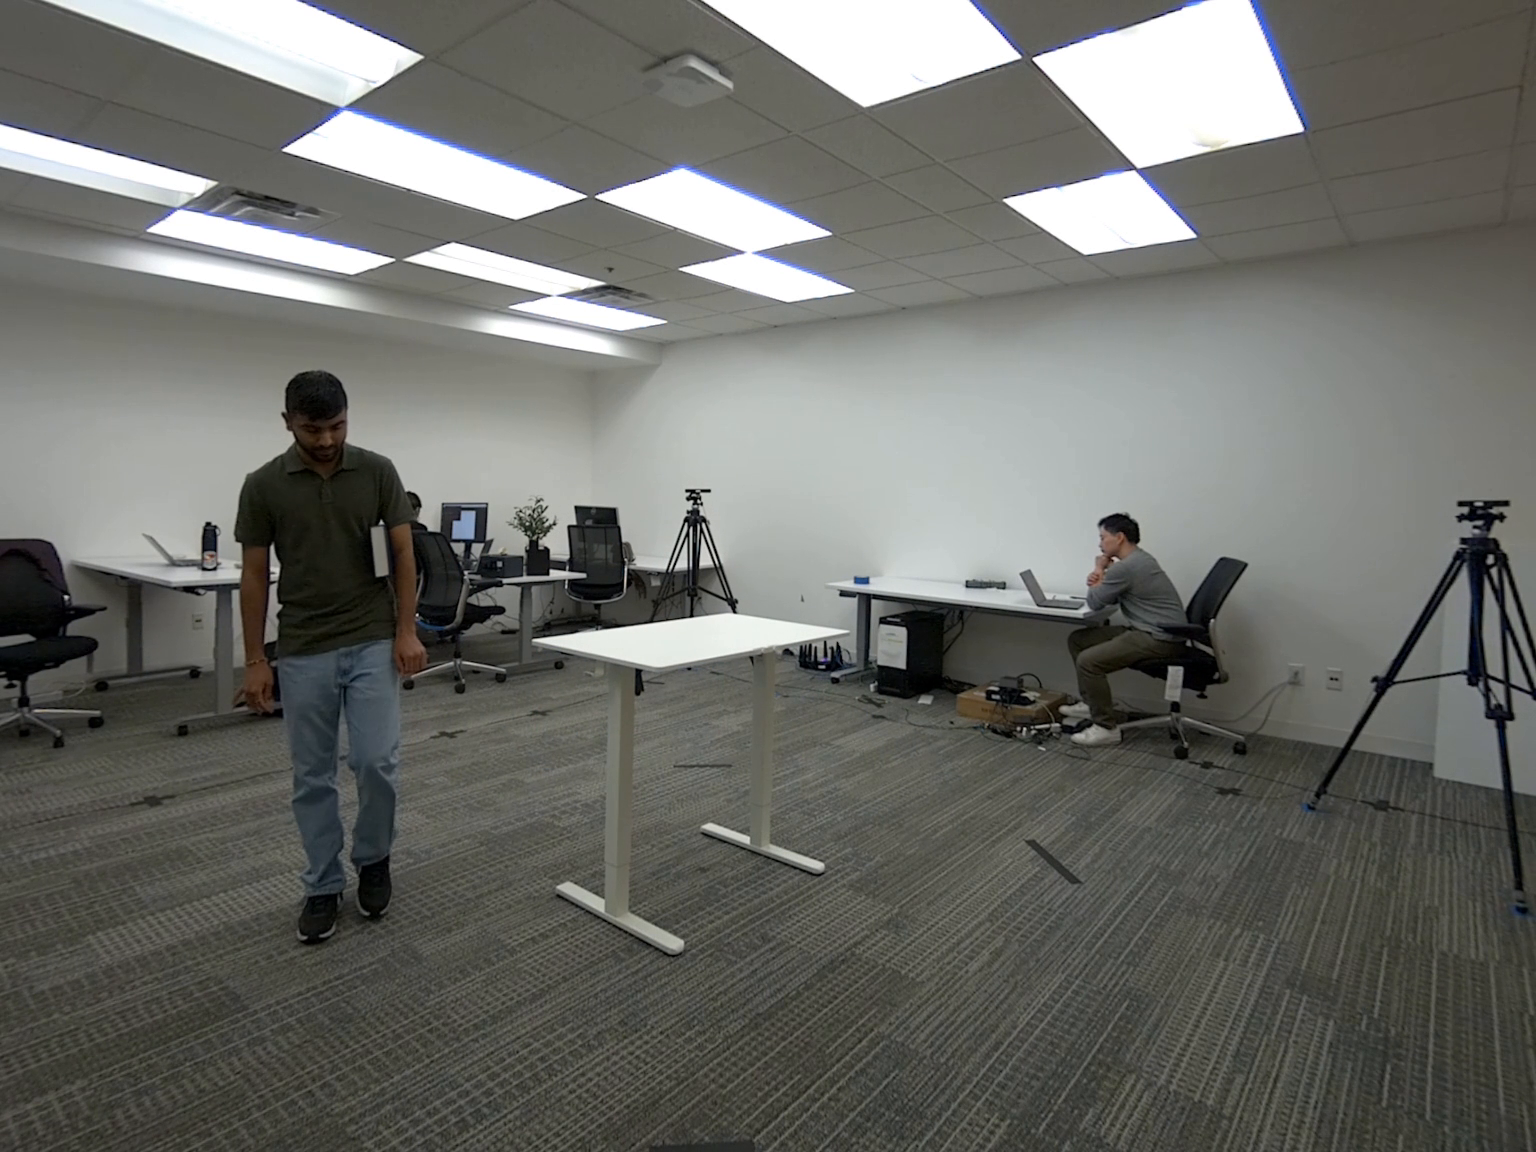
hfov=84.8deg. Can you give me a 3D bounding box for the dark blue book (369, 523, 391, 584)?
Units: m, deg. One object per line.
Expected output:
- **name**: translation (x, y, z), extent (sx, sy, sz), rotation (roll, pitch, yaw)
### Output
- **dark blue book**: translation (-1.263, -0.084, 2.747), extent (0.044, 0.162, 0.250), rotation (-7, 6, -18)
